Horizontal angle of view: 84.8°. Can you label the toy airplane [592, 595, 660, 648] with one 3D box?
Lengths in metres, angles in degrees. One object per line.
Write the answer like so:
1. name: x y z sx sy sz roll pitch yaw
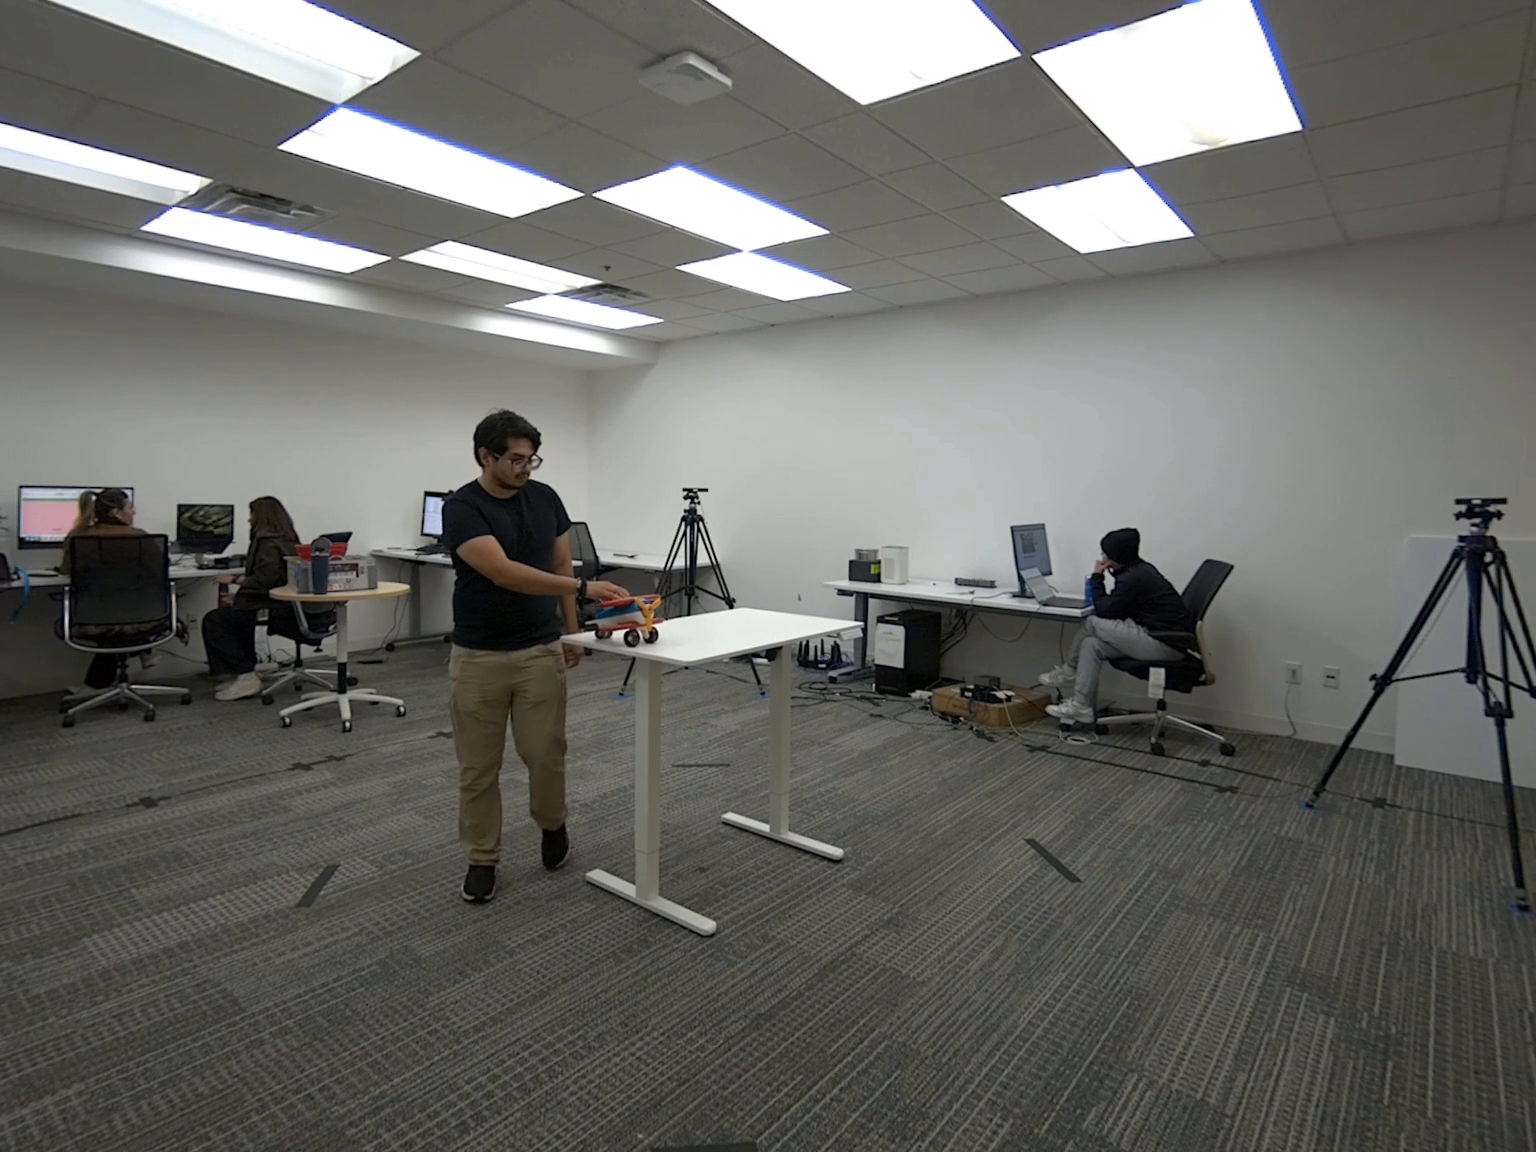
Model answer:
1. toy airplane: -0.499 0.140 2.787 0.262 0.156 0.249 3 5 9
